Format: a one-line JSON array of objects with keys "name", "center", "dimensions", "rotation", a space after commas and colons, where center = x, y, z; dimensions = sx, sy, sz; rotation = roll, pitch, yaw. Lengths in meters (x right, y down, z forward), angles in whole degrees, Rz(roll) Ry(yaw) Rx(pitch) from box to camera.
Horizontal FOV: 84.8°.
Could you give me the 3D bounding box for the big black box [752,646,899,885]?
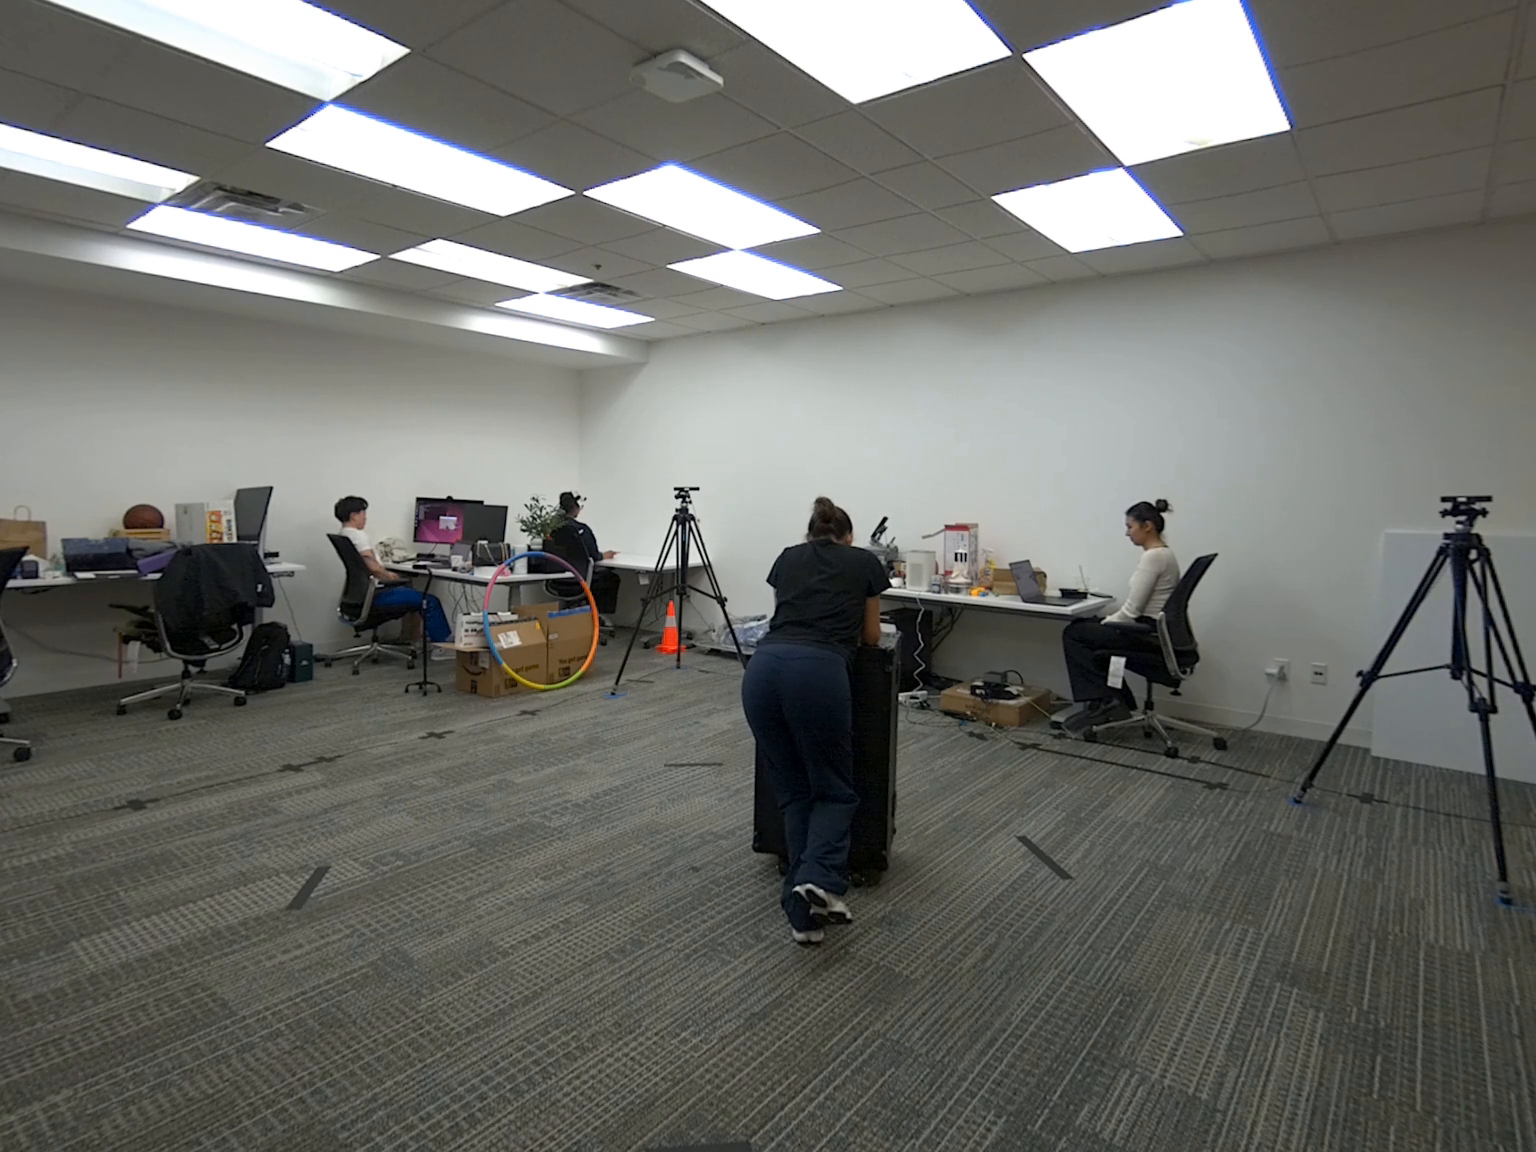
[{"name": "big black box", "center": [0.241, 0.581, 3.168], "dimensions": [0.531, 0.859, 0.390], "rotation": [3, 3, 15]}]
